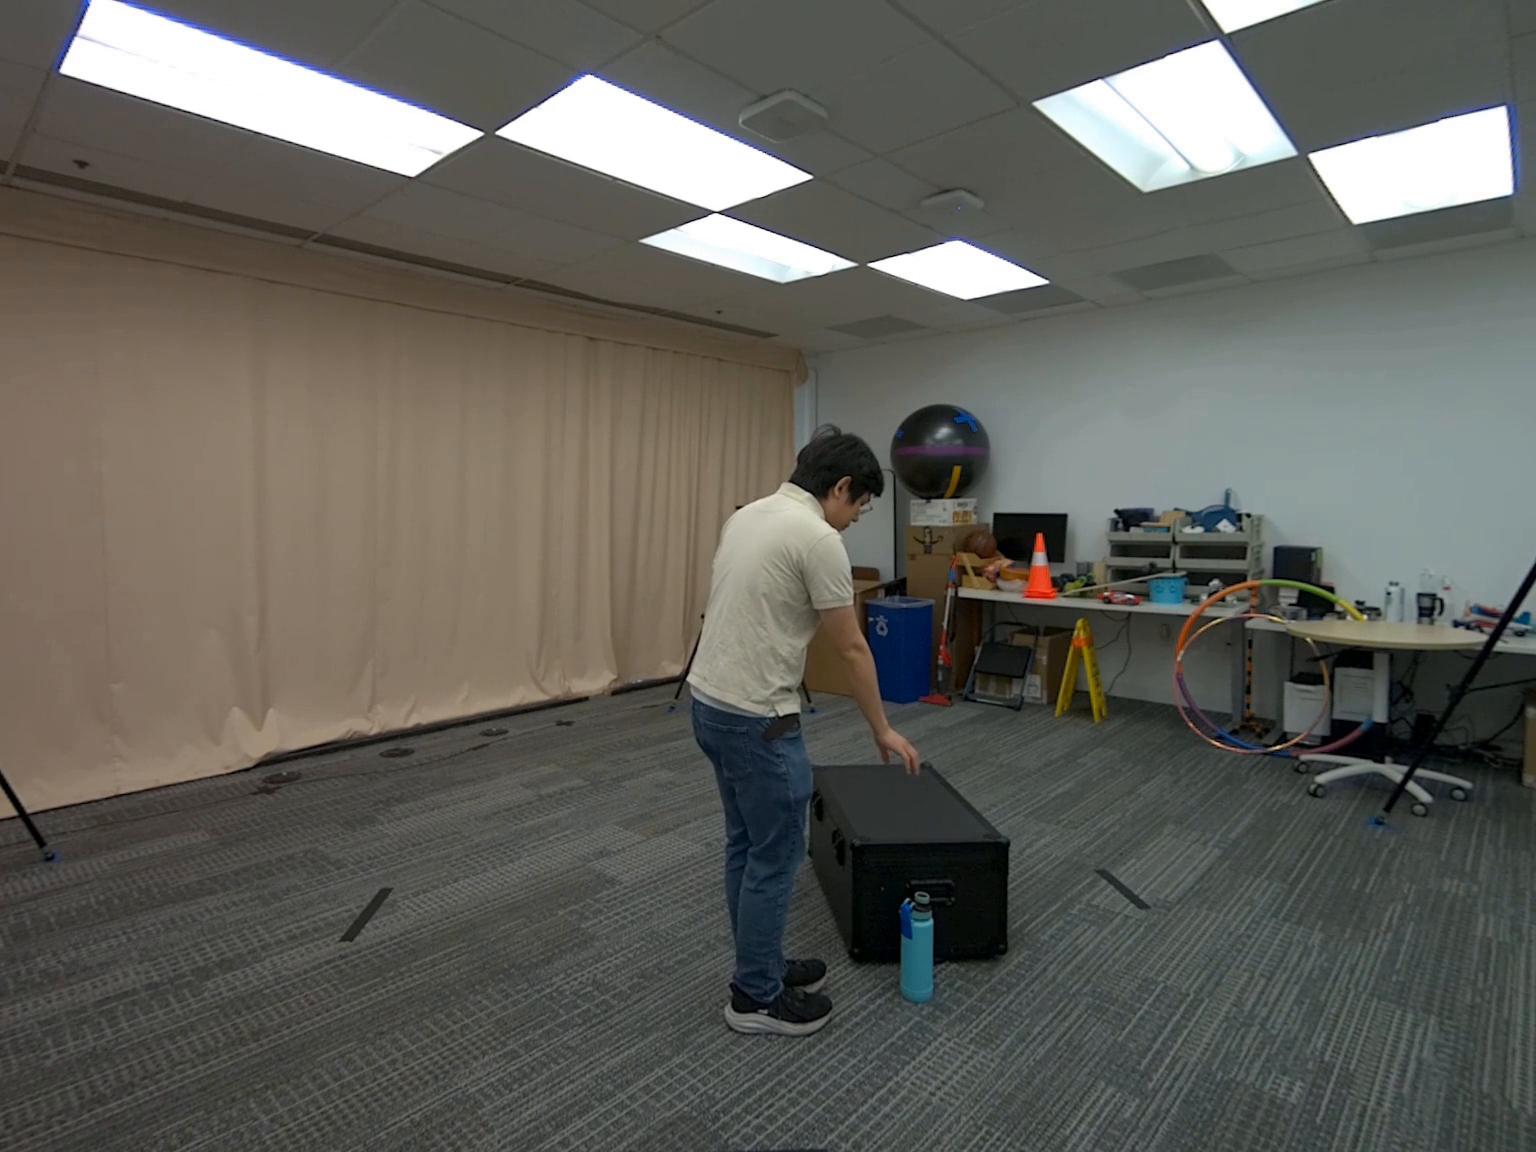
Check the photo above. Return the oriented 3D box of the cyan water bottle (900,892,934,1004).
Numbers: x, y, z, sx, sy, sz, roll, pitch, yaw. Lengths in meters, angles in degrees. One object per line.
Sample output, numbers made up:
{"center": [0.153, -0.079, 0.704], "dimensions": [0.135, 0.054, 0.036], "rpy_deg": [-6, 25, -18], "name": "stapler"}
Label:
{"center": [0.423, 1.047, 2.406], "dimensions": [0.092, 0.283, 0.092], "rpy_deg": [1, 1, -2], "name": "cyan water bottle"}
